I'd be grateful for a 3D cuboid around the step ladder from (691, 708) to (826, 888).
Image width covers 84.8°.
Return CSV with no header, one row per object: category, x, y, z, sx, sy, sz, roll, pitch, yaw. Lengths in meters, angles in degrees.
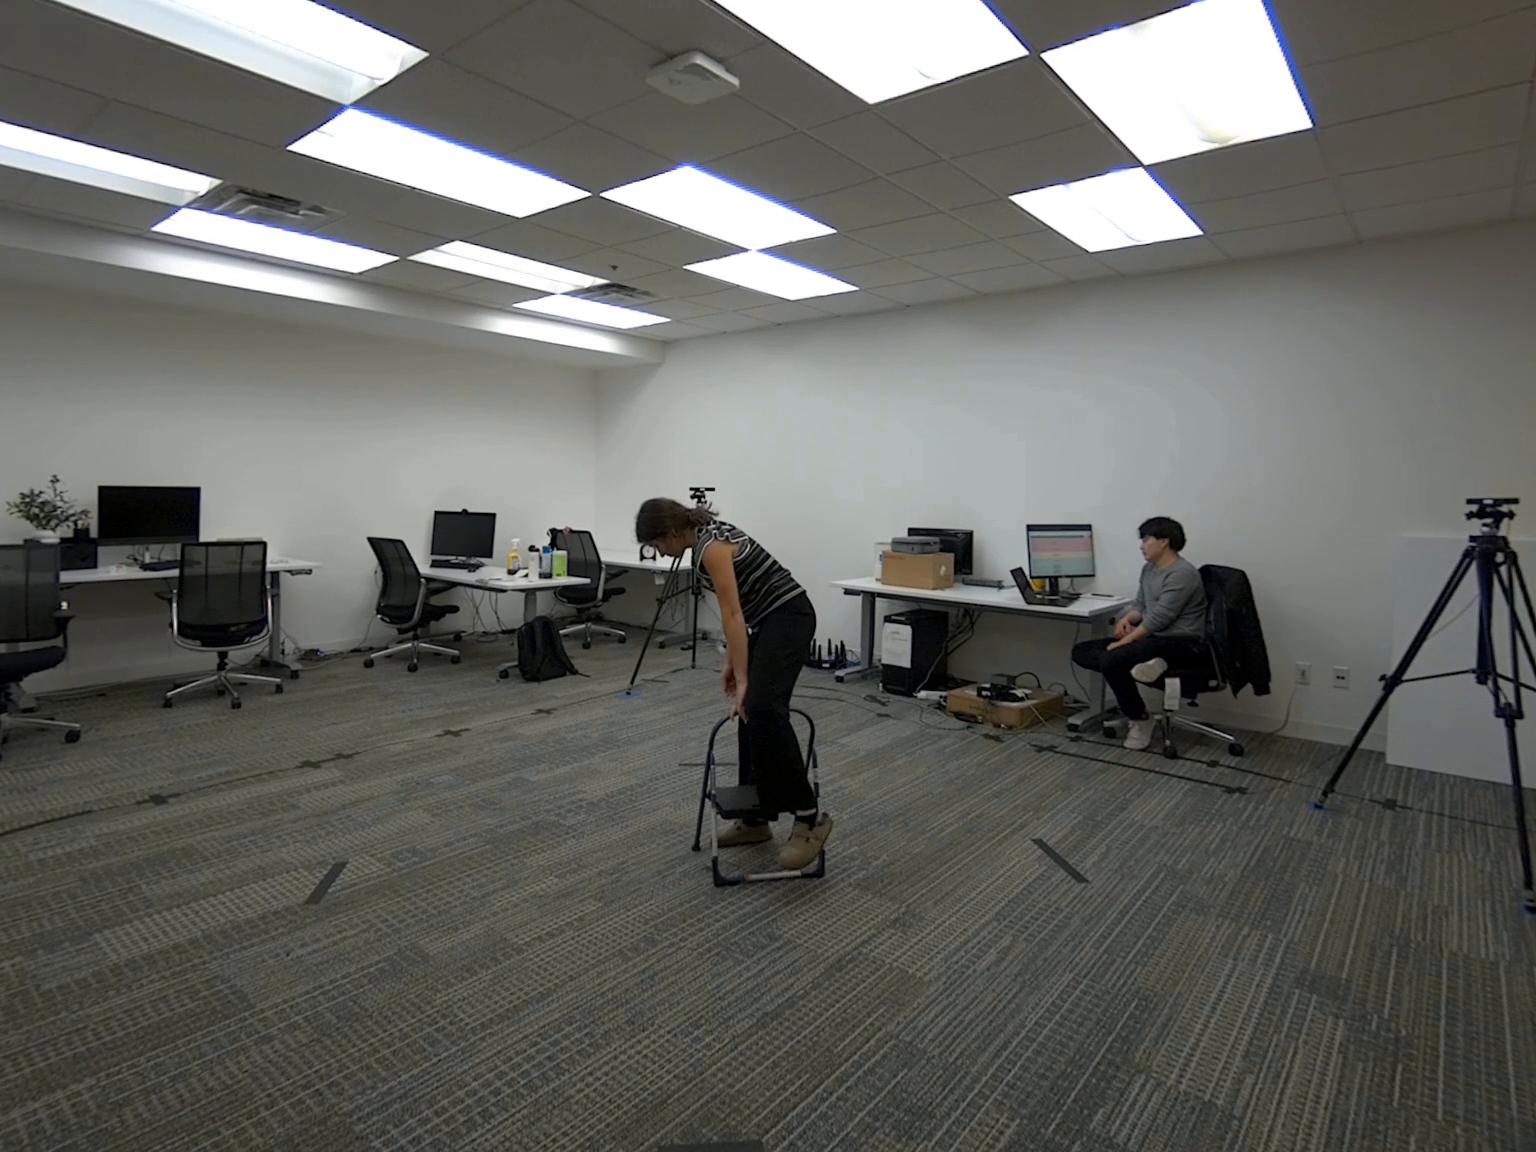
step ladder,-0.042,0.764,3.161,0.424,0.604,0.356,1,3,-16
